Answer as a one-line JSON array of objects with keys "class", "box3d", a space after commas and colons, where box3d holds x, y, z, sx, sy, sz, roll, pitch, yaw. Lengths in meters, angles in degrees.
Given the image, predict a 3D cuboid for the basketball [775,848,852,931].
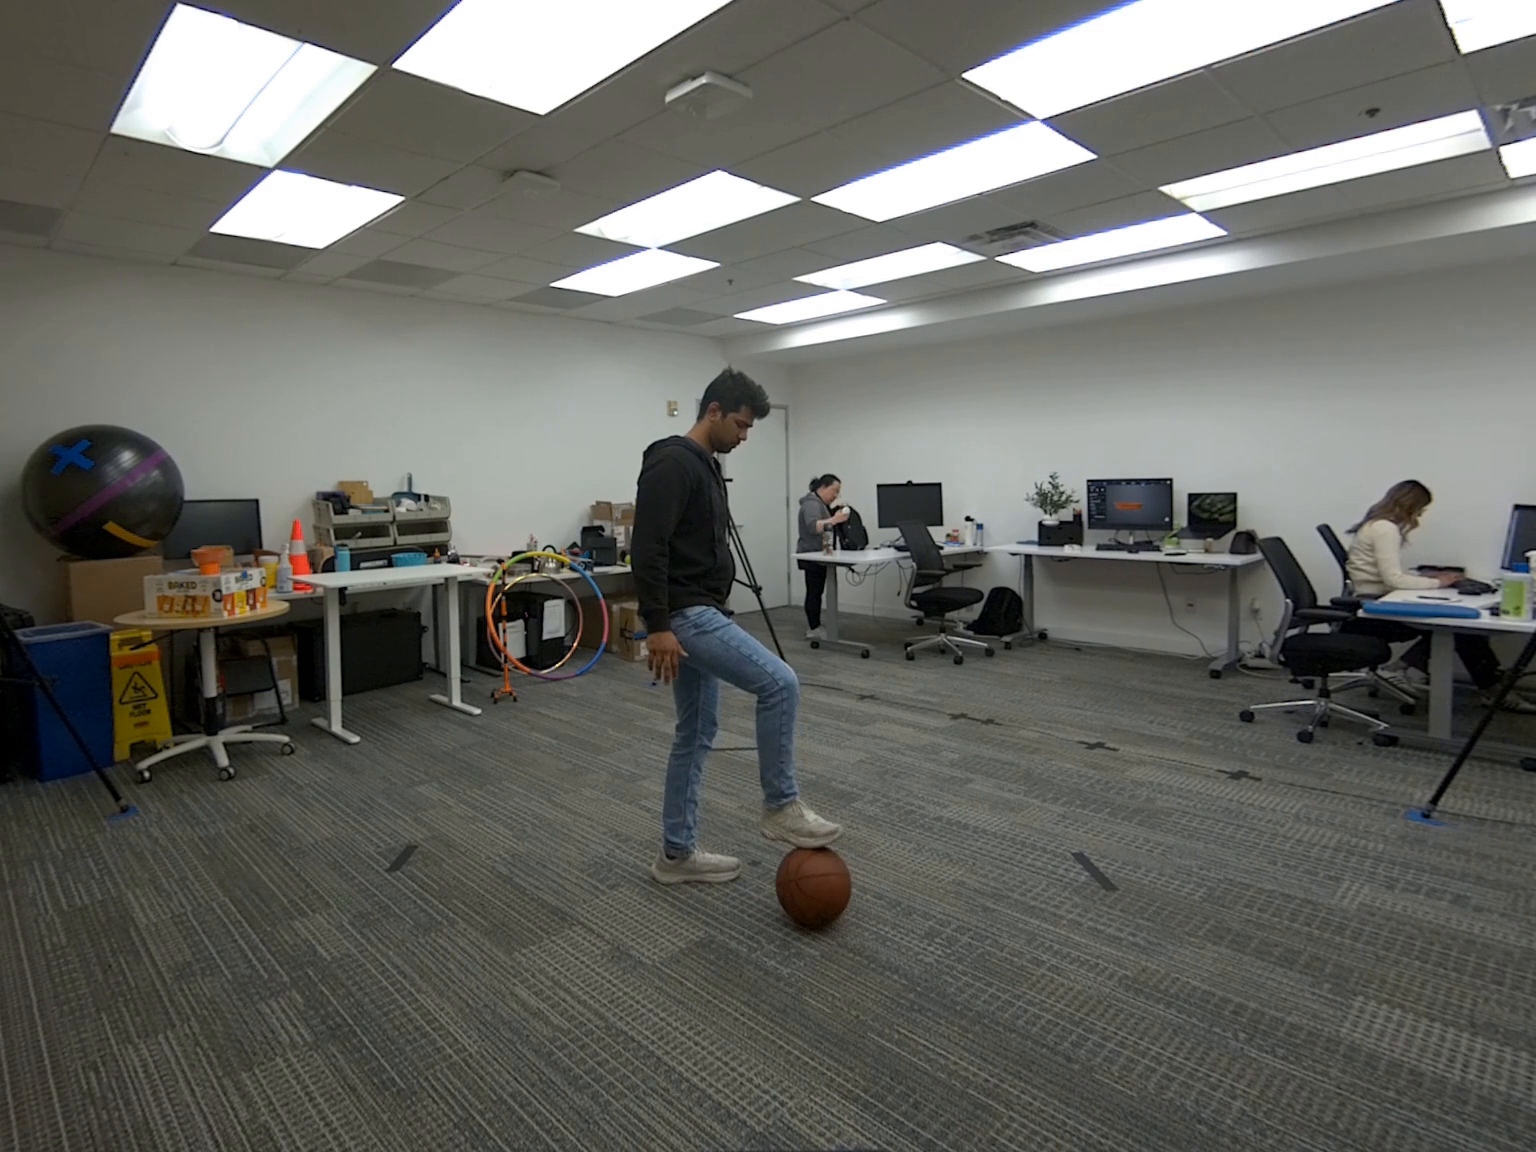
[{"class": "basketball", "box3d": [0.144, 0.969, 2.682, 0.236, 0.235, 0.237, -1, 5, -2]}]
